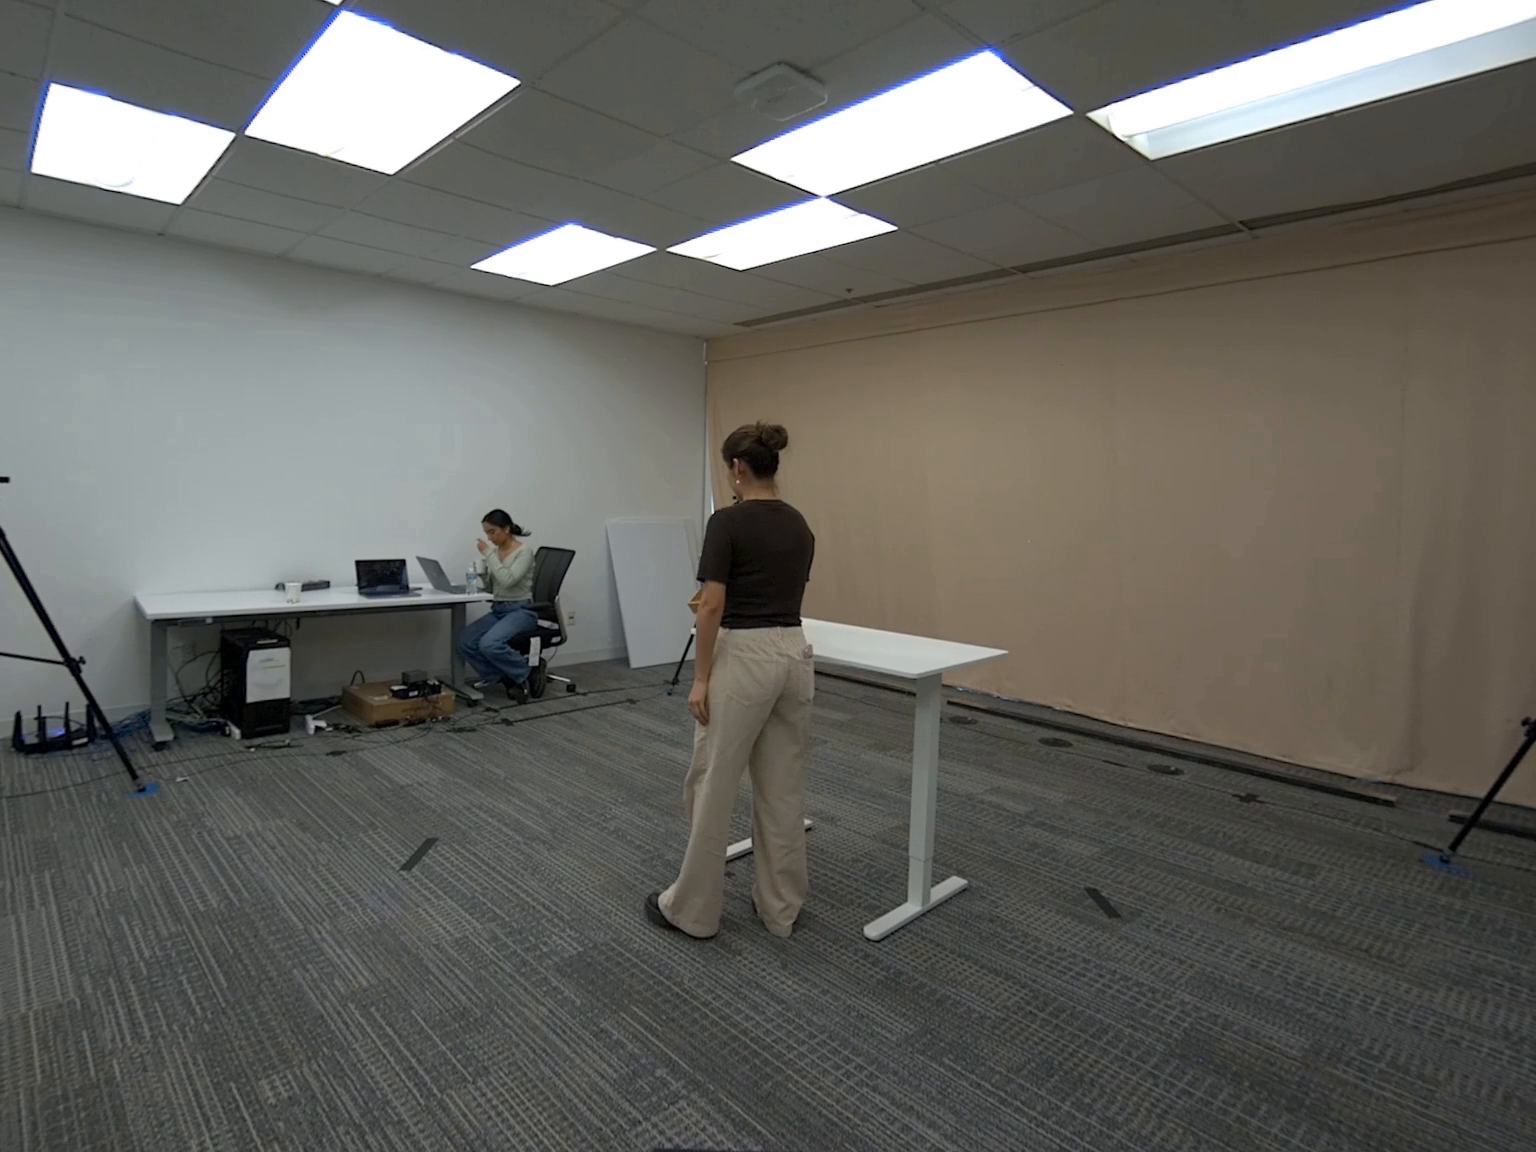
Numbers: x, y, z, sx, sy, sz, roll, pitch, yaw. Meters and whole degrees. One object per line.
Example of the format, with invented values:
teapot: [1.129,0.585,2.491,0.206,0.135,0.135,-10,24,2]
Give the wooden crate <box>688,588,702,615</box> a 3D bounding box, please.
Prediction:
wooden crate: [-0.131,-0.019,3.185,0.296,0.273,0.331,-11,2,-37]
